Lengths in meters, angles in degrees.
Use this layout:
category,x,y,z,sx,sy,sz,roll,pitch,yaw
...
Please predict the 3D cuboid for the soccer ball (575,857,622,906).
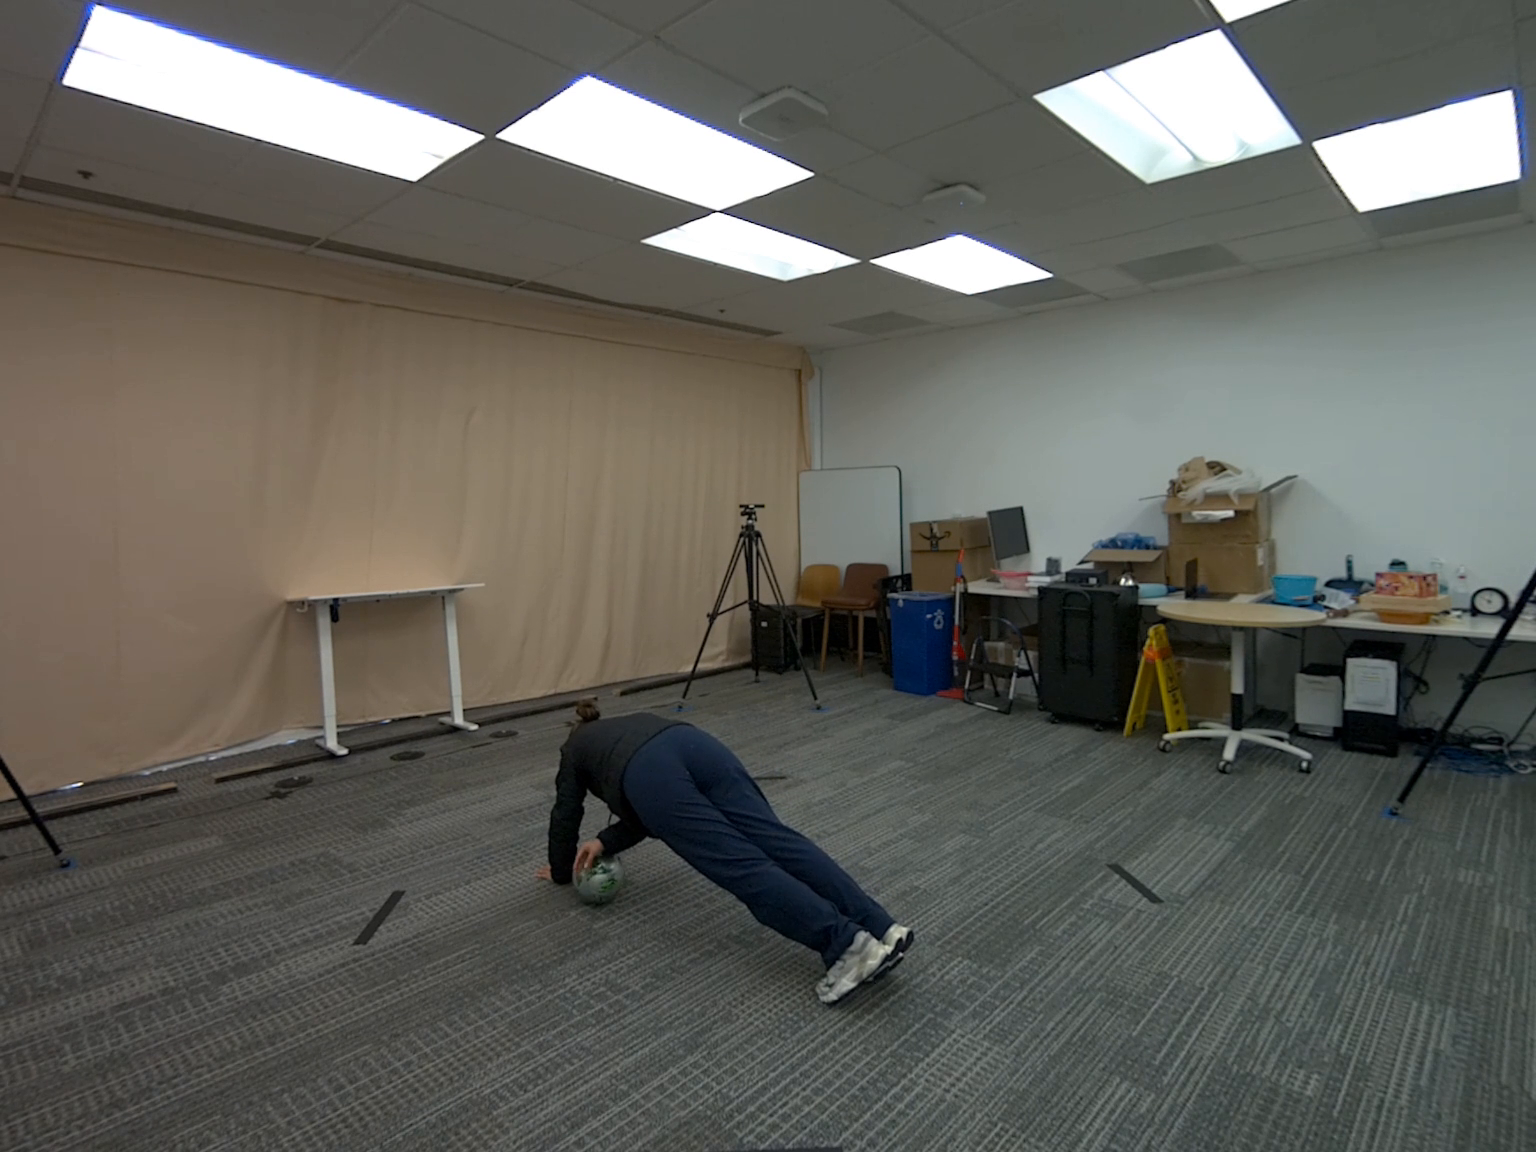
category,x,y,z,sx,sy,sz,roll,pitch,yaw
soccer ball,-0.599,1.063,2.982,0.187,0.187,0.188,-1,4,-2
